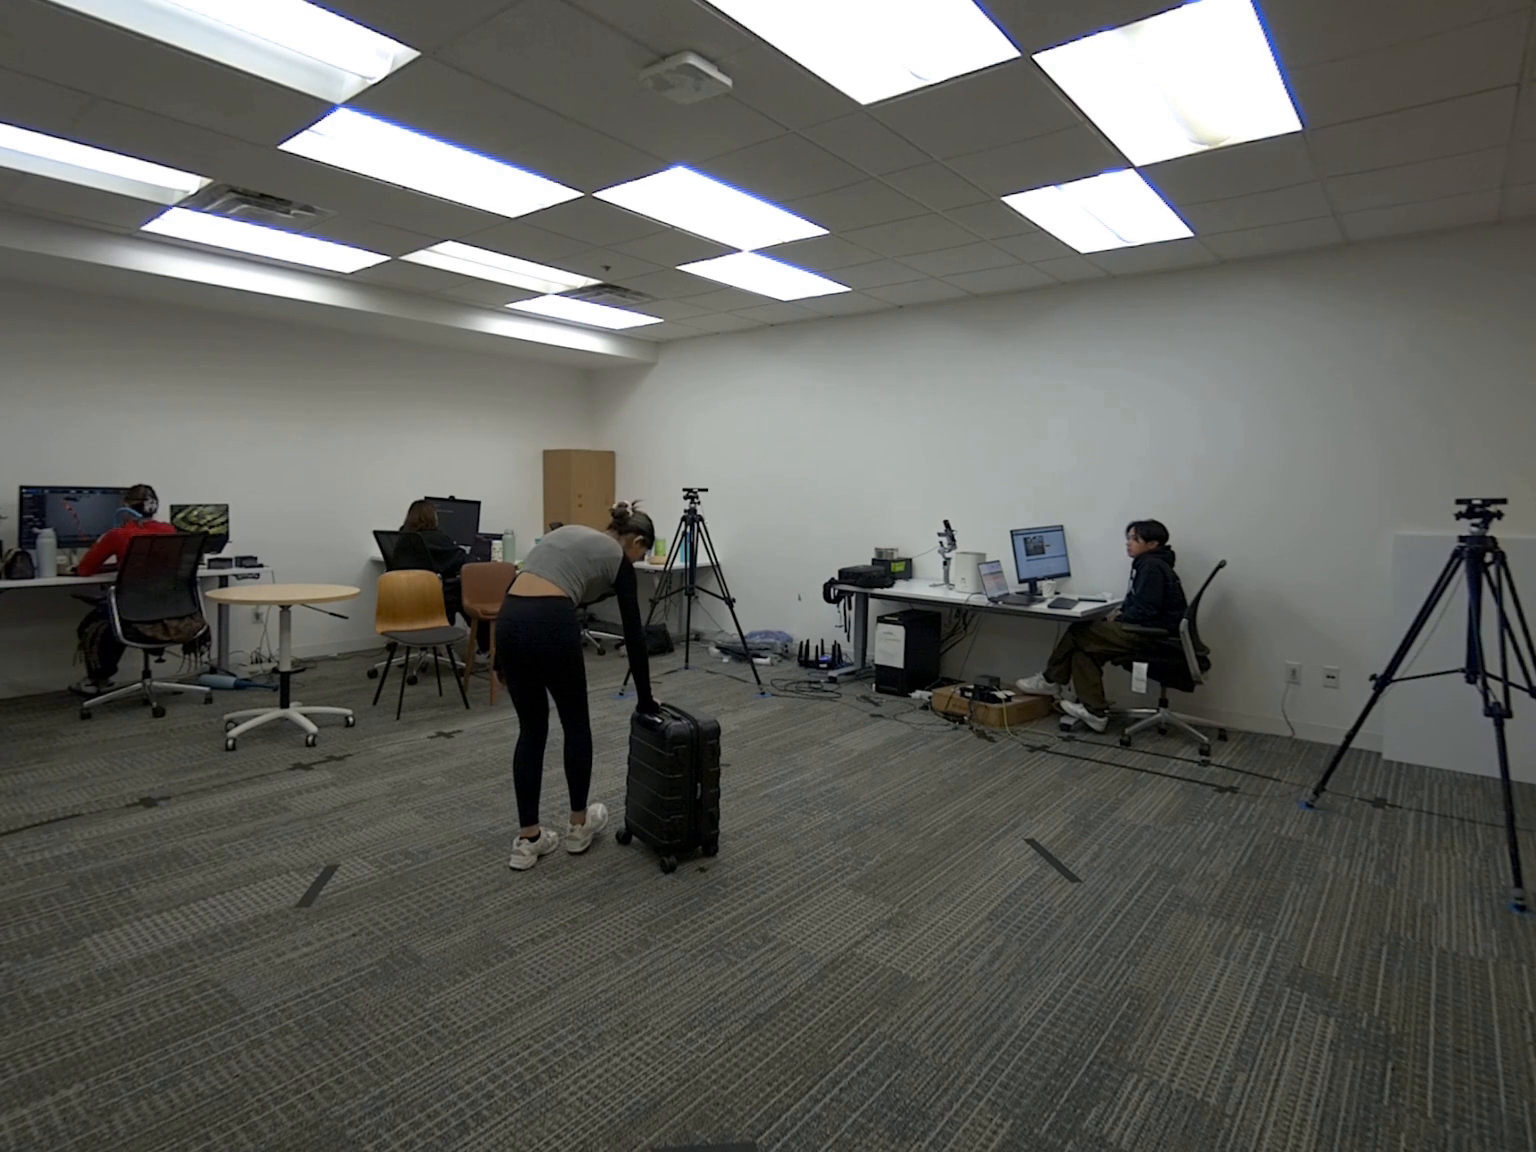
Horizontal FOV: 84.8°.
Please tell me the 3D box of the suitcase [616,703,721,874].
[{"bbox_3d":[-0.380,0.776,3.275,0.241,0.549,0.387,1,2,-36],"label":"suitcase"}]
